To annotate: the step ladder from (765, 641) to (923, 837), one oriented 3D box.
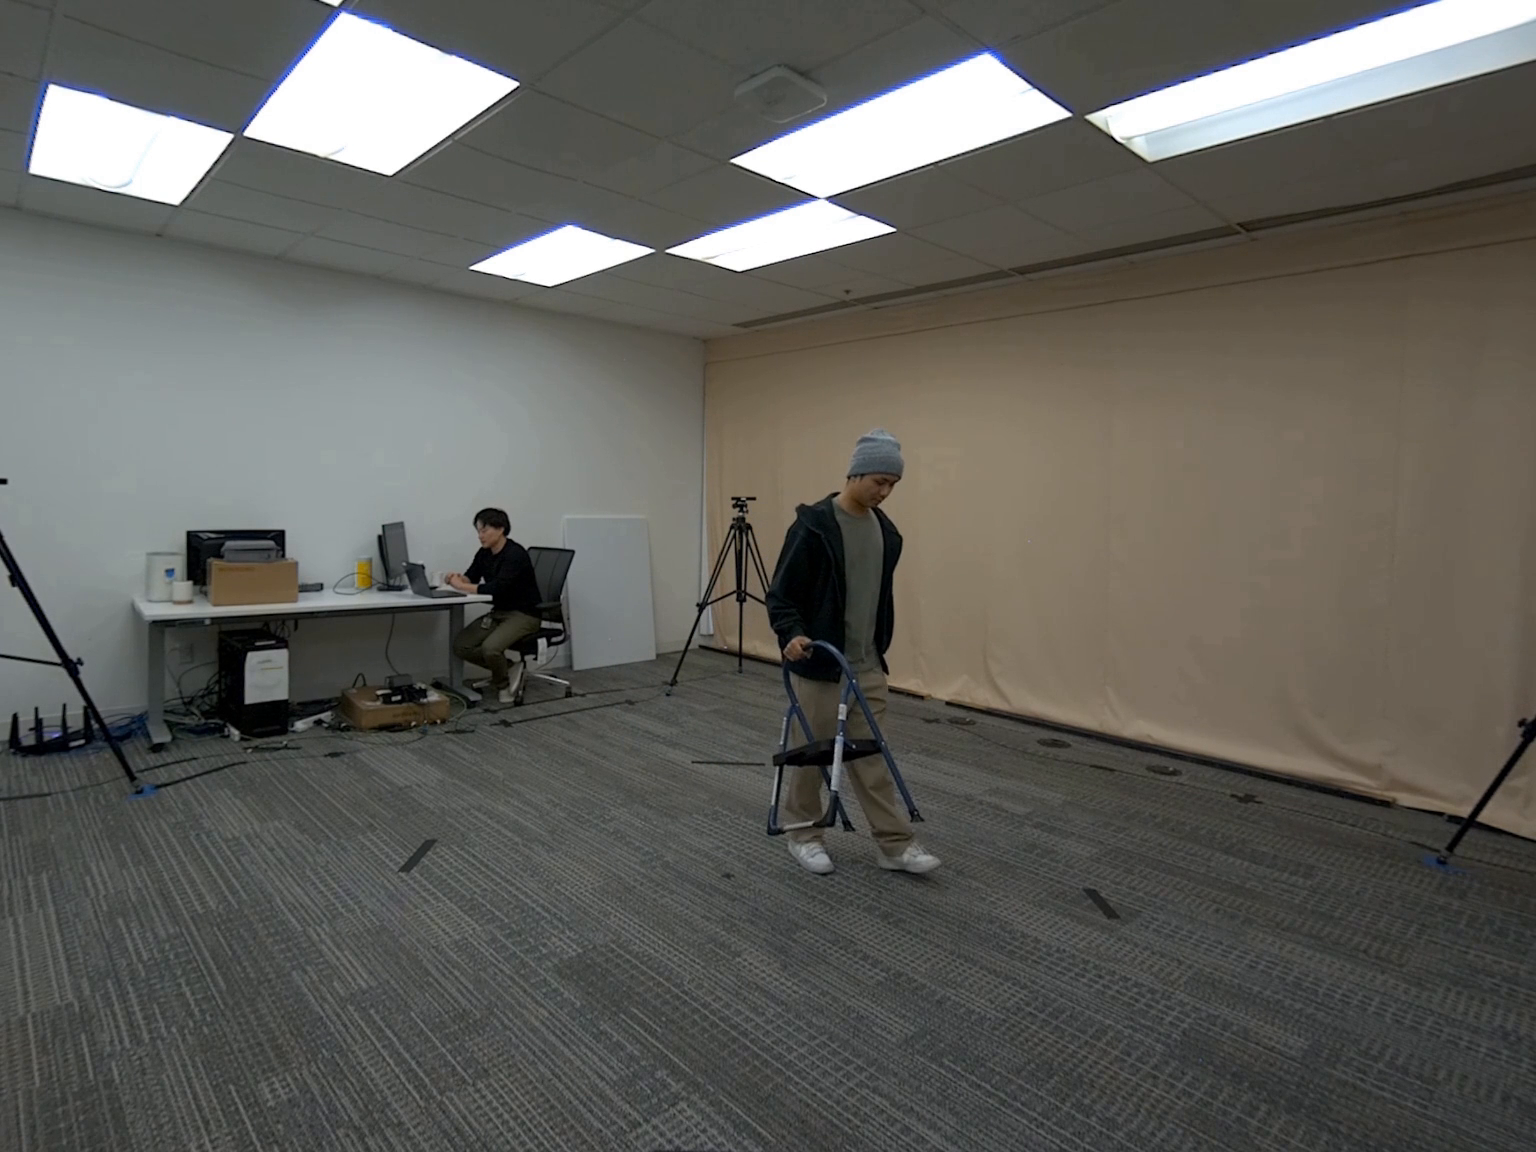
[{"bbox_3d":[0.199,0.539,2.837,0.342,0.616,0.432,5,-22,-26],"label":"step ladder"}]
